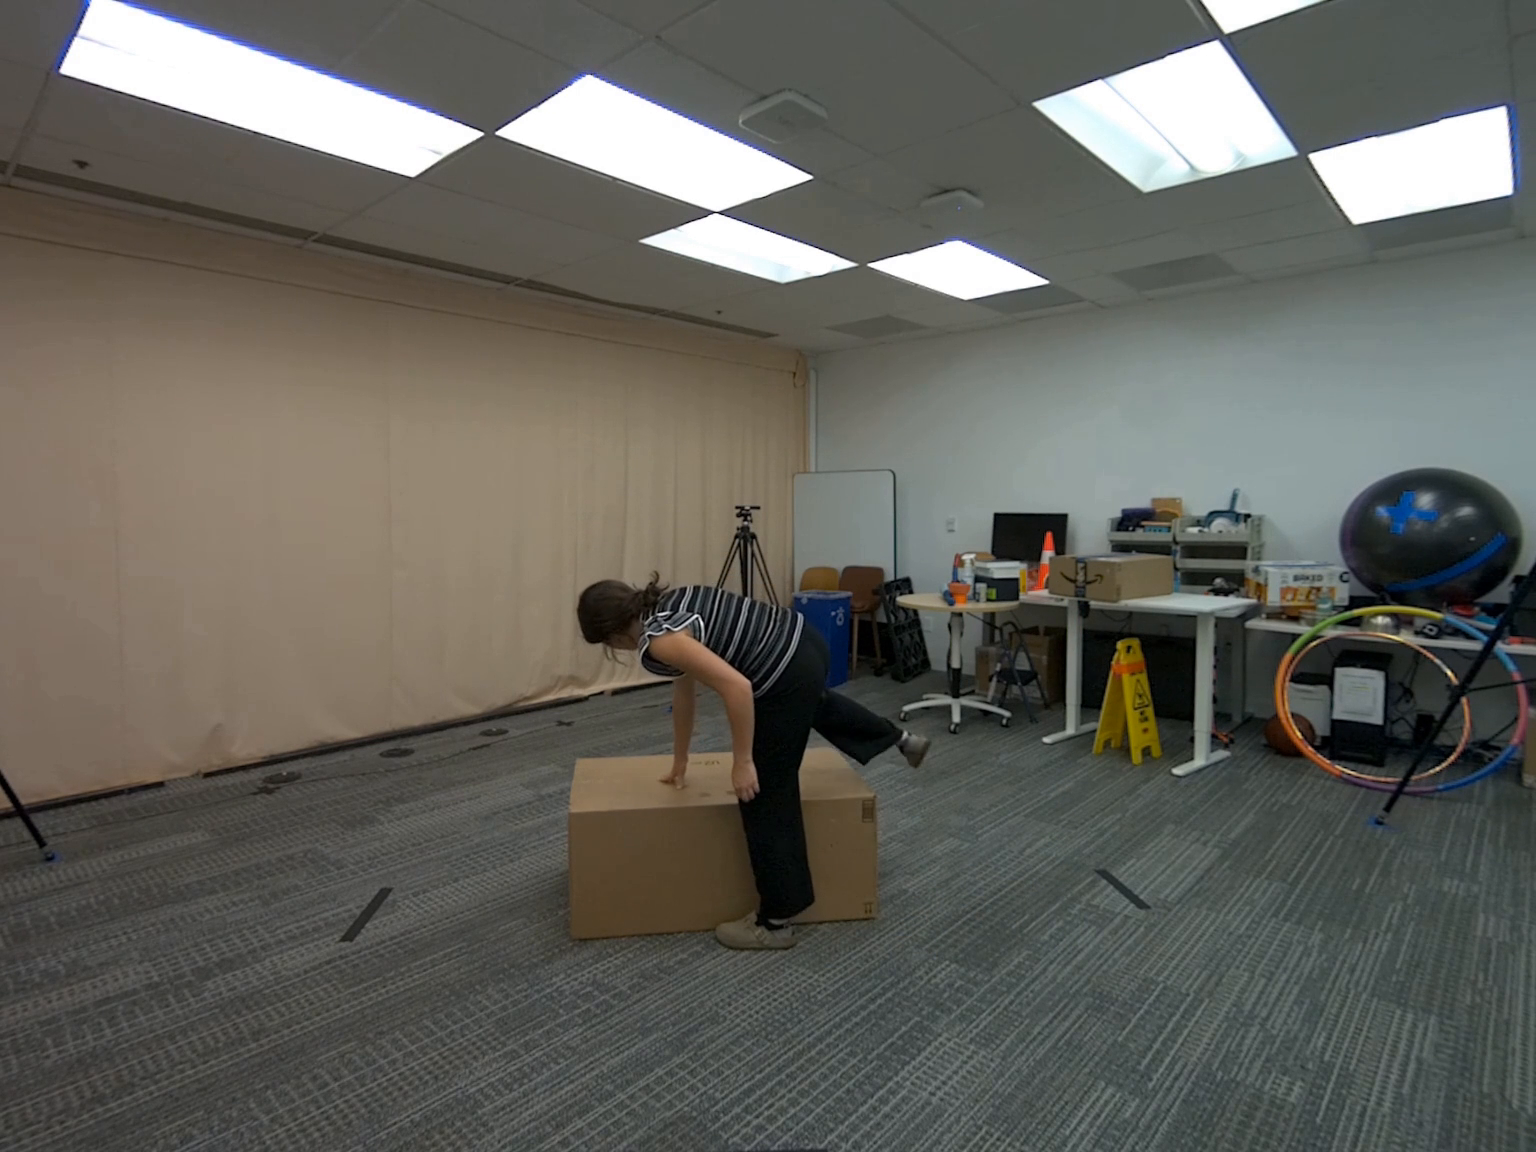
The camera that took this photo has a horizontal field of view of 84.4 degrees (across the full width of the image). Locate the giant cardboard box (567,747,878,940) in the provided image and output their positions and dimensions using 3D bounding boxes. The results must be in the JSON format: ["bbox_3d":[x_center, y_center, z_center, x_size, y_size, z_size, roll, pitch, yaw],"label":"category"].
[{"bbox_3d":[-0.187,0.930,3.040,1.018,0.425,0.584,-1,5,-8],"label":"giant cardboard box"}]
